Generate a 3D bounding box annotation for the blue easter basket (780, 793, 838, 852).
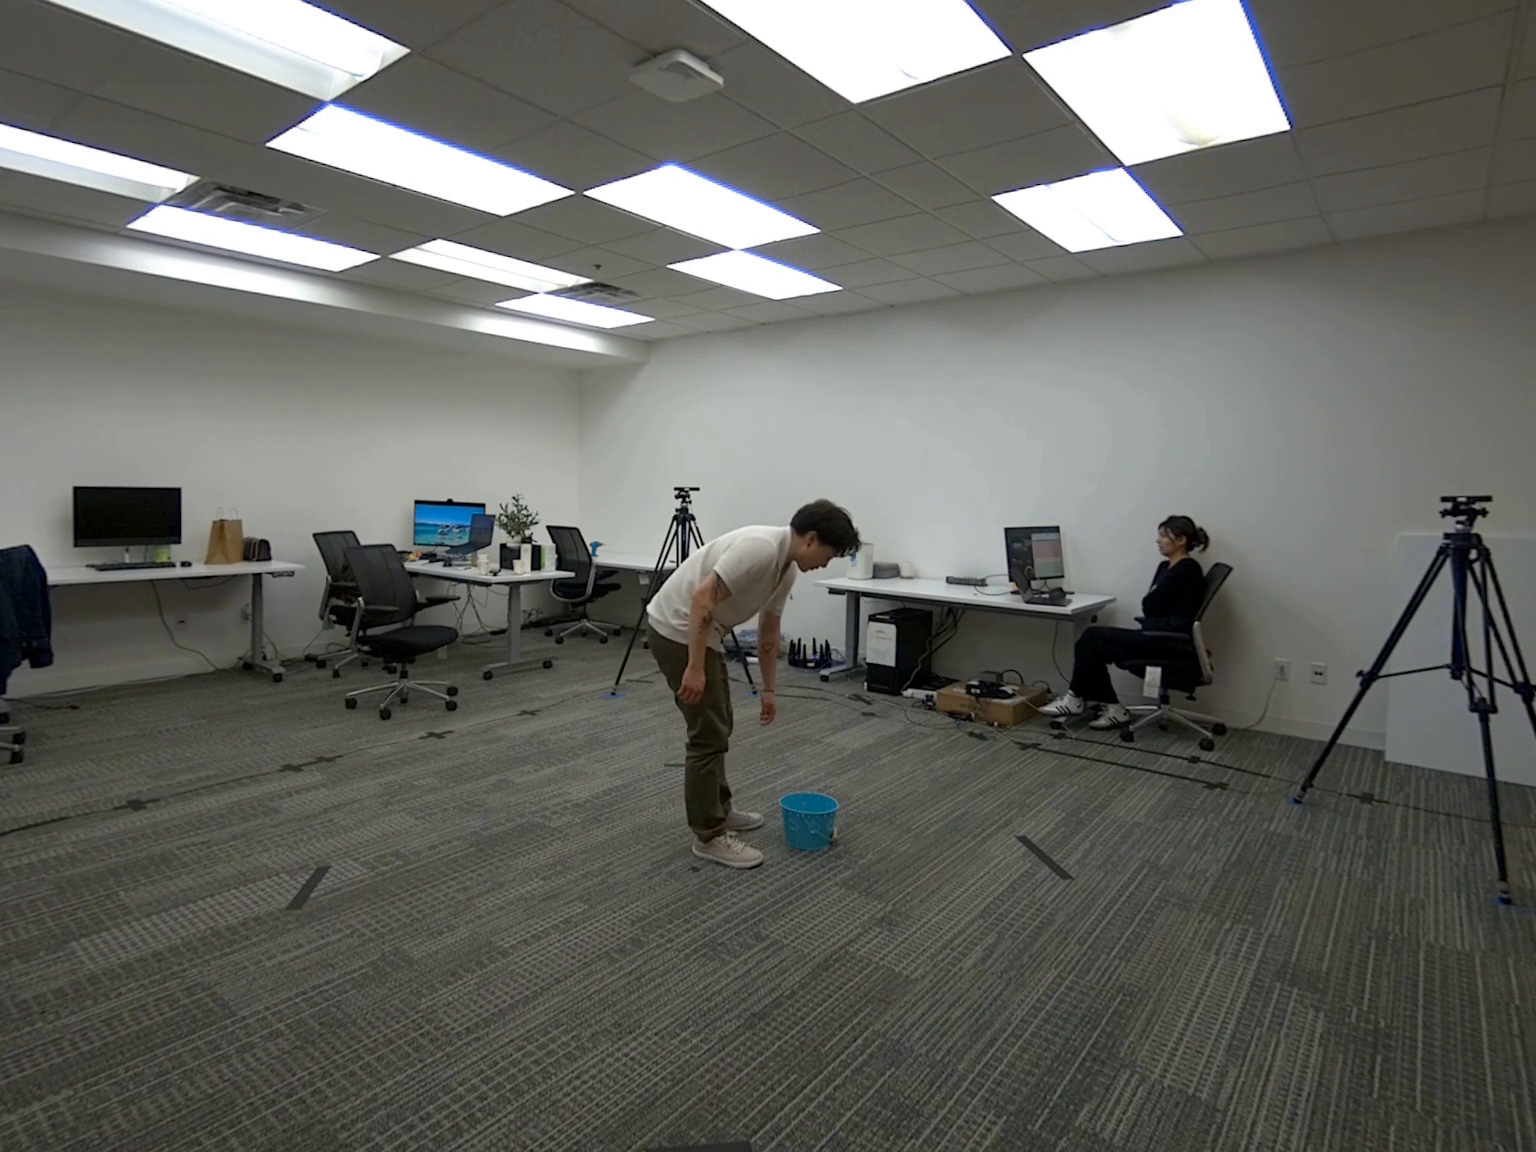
[{"bbox_3d":[0.157,0.973,3.369,0.243,0.155,0.245,1,5,-2],"label":"blue easter basket"}]
